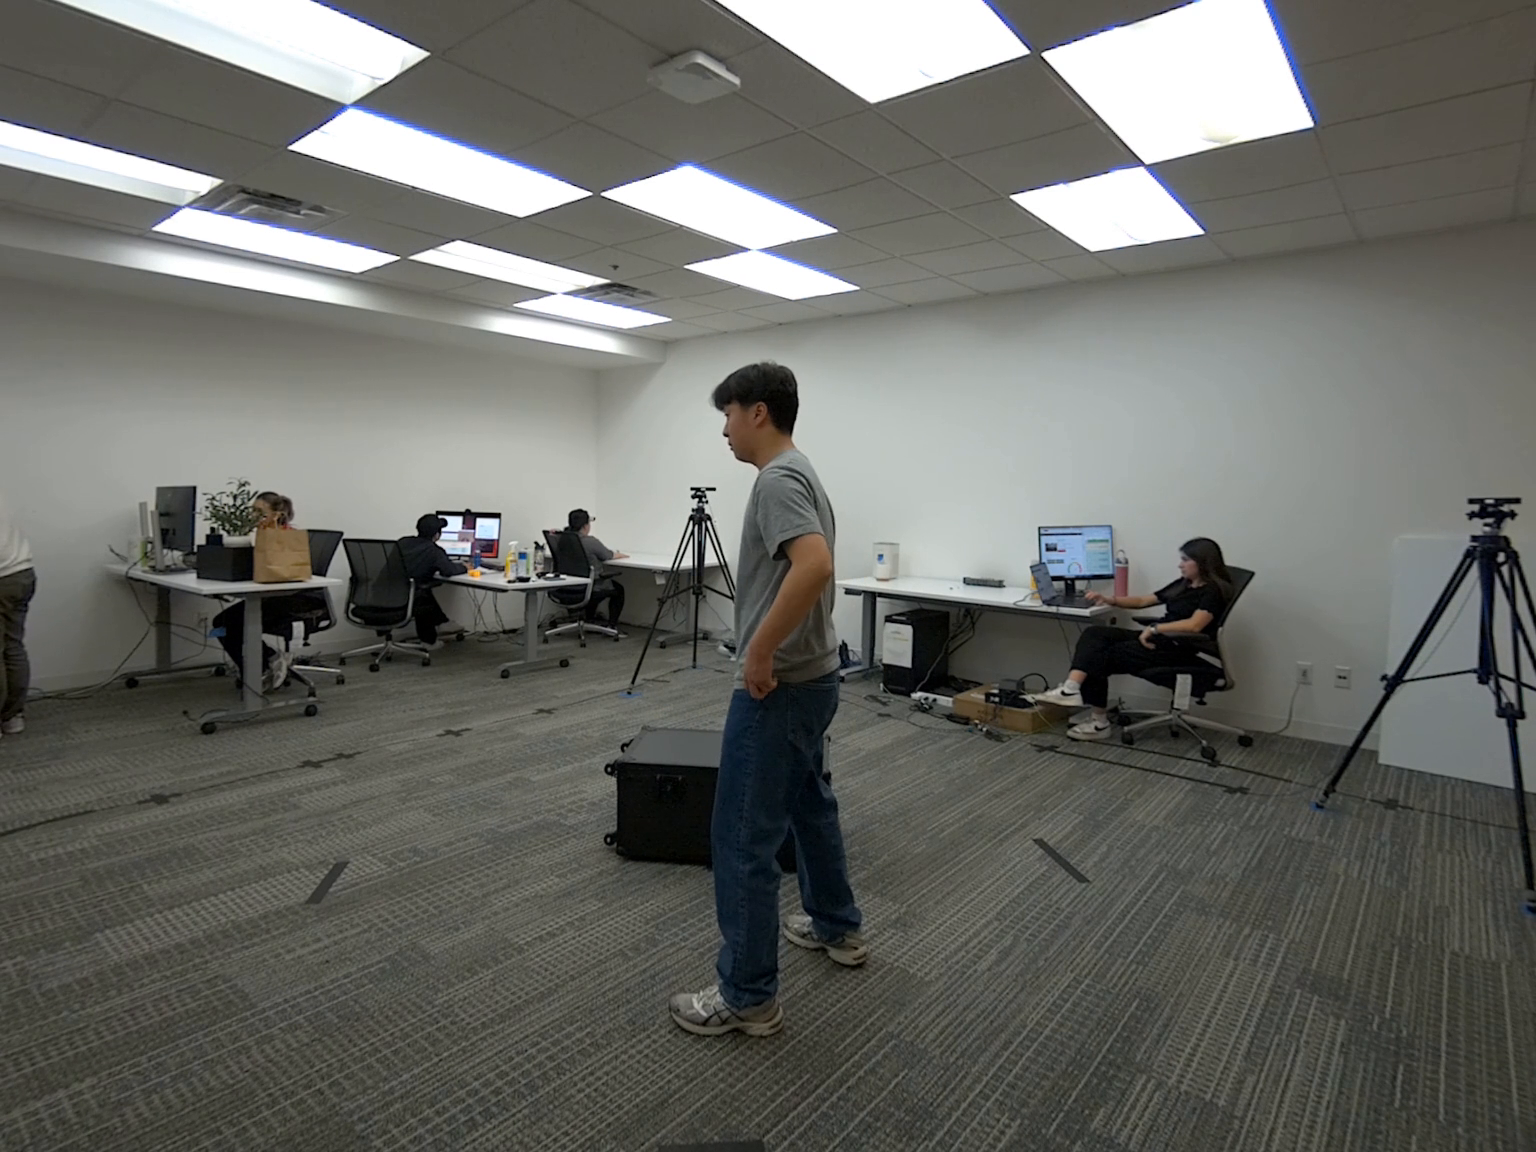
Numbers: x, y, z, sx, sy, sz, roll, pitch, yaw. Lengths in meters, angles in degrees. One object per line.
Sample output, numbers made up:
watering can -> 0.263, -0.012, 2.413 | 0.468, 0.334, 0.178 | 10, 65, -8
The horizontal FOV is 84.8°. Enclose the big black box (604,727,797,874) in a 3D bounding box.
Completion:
big black box -> -0.202, 0.851, 3.337 | 0.868, 0.395, 0.519 | 2, 5, 6
